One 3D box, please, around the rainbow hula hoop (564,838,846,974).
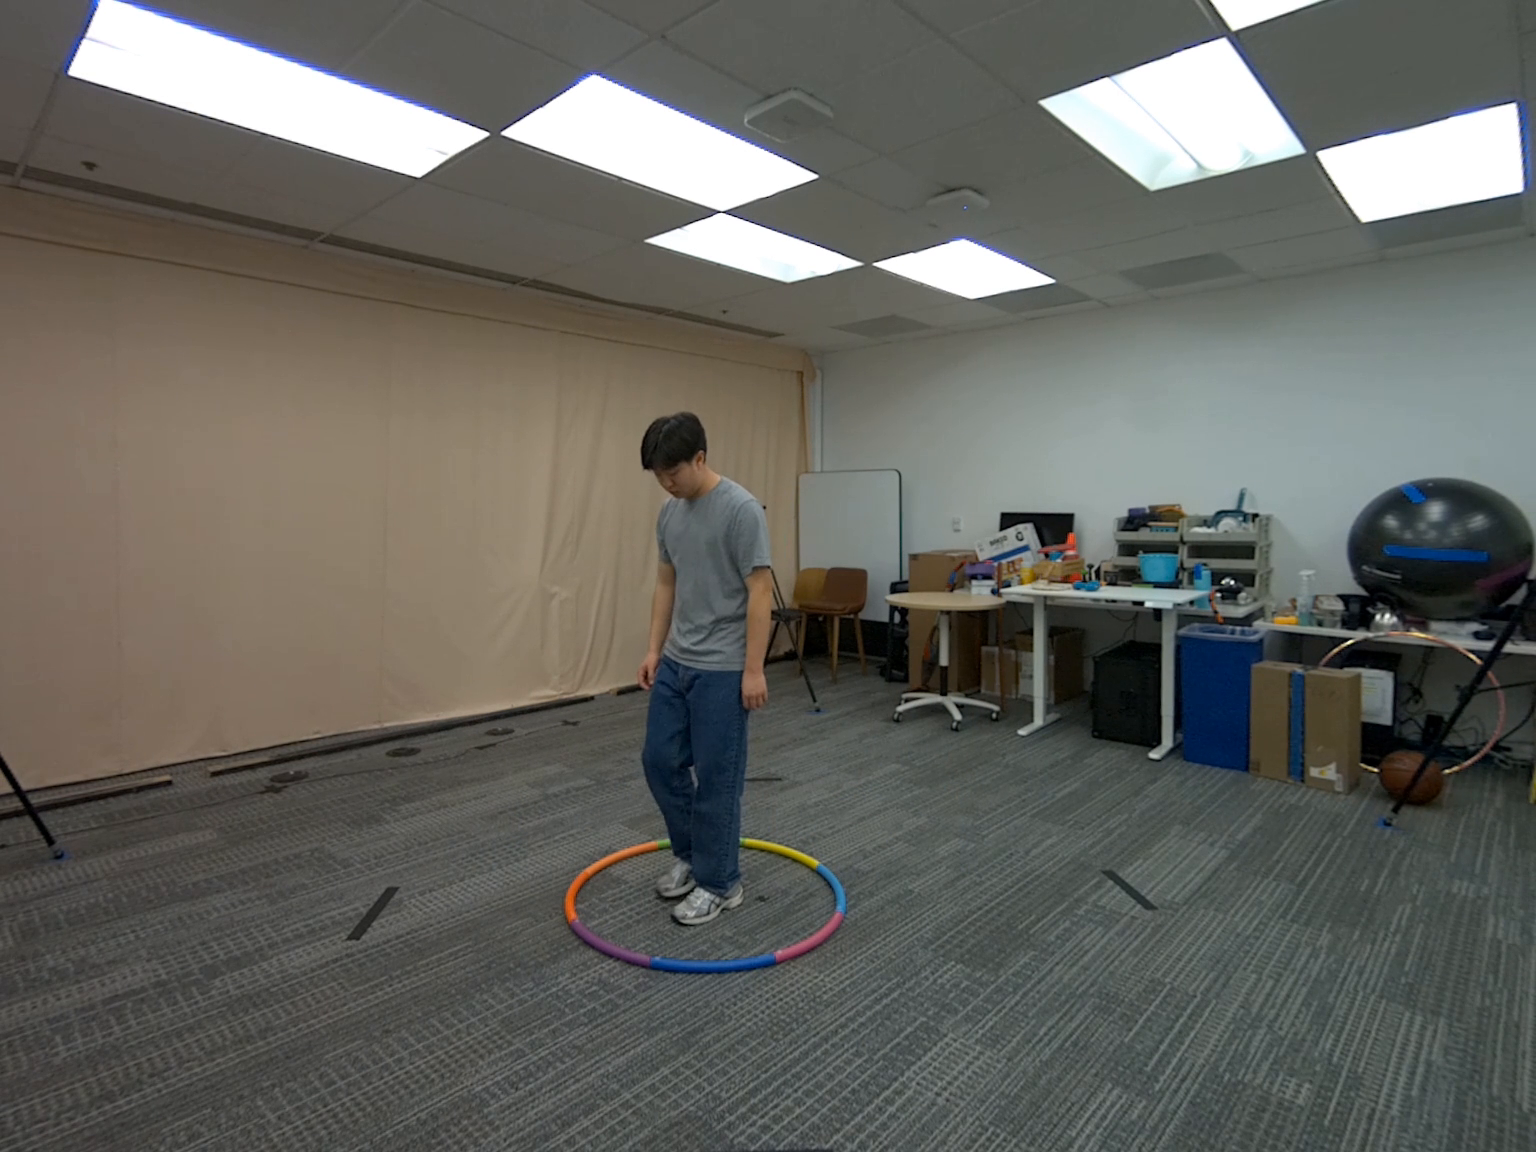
[{"bbox_3d":[-0.219,1.115,2.991,0.978,0.035,0.982,-1,5,-2],"label":"rainbow hula hoop"}]
